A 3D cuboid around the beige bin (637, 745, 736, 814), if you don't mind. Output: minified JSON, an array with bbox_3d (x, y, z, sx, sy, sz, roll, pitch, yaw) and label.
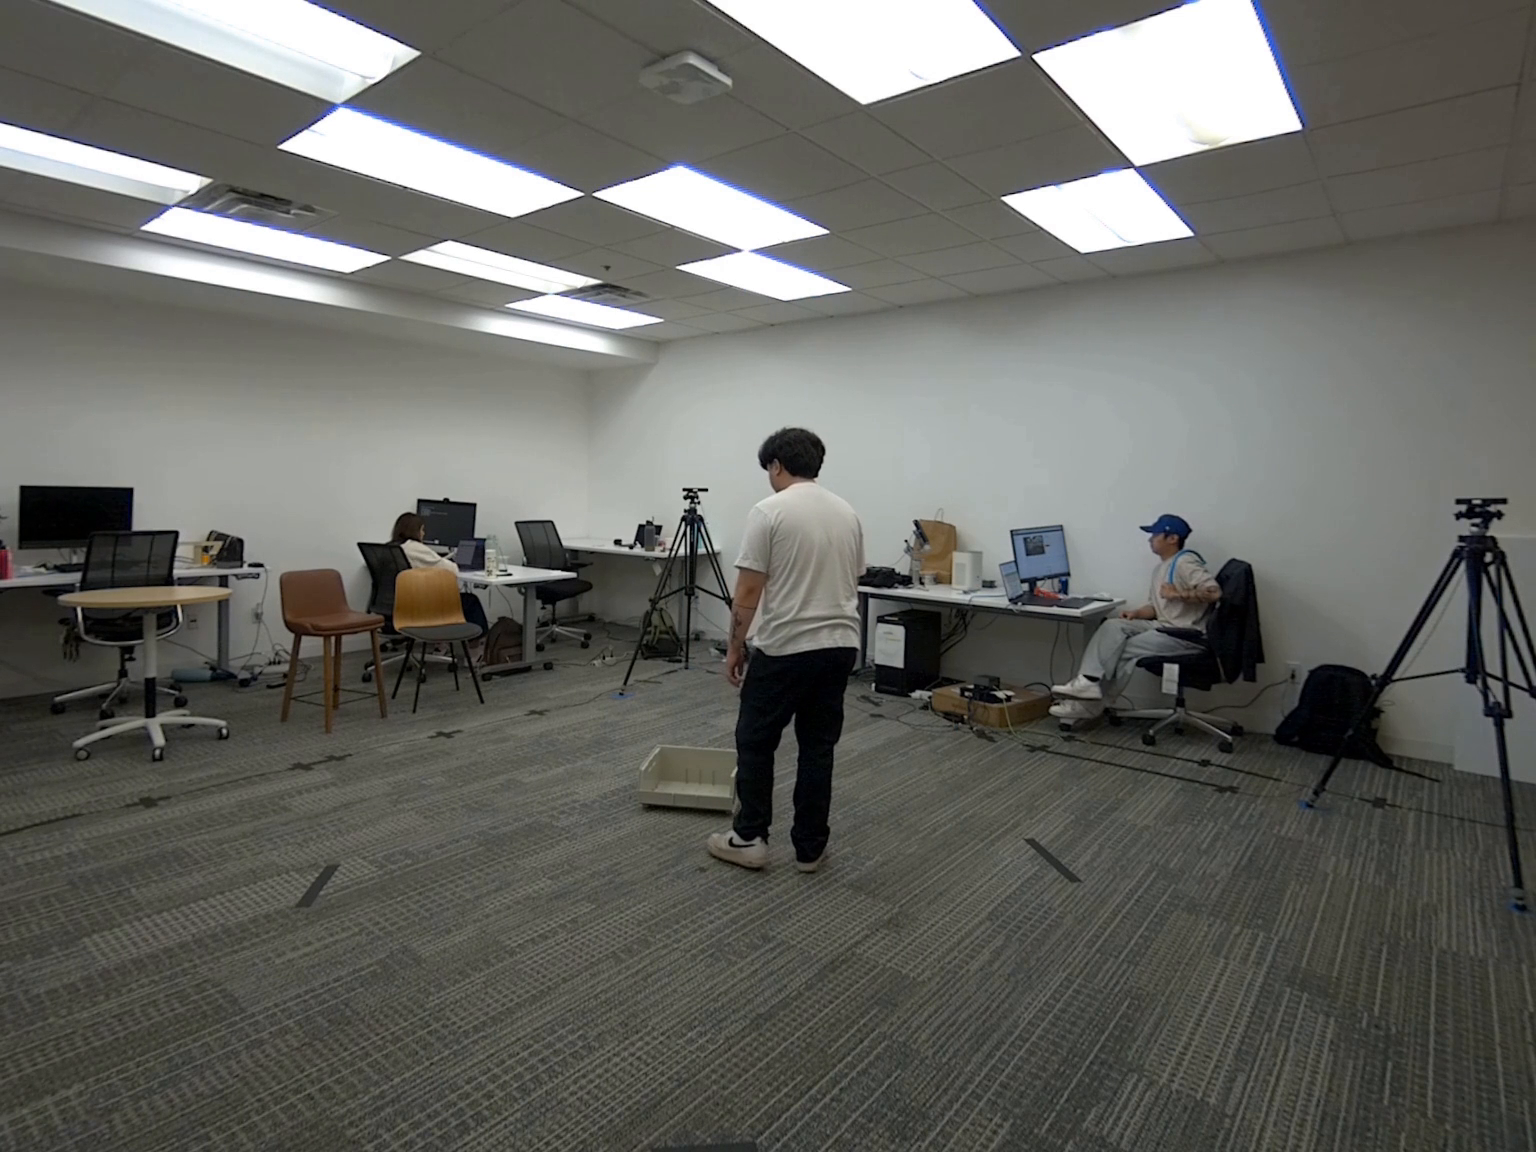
[{"bbox_3d":[-0.346,0.910,3.811,0.426,0.188,0.375,1,4,7],"label":"beige bin"}]
